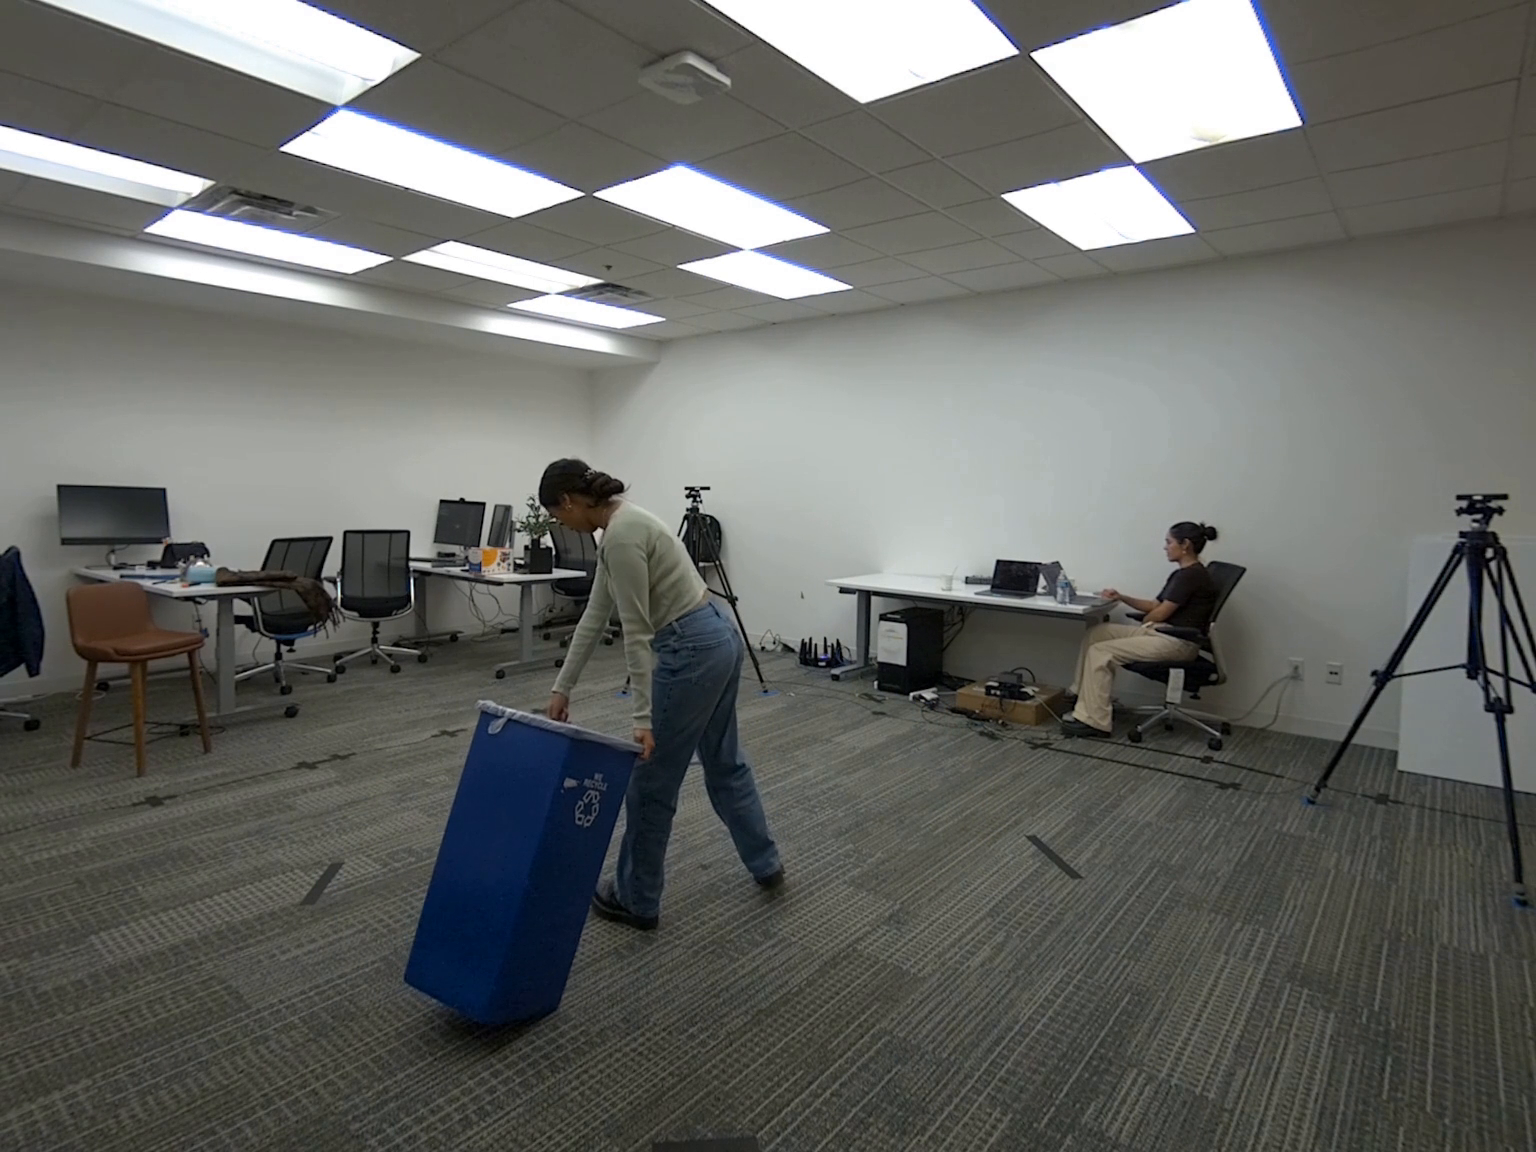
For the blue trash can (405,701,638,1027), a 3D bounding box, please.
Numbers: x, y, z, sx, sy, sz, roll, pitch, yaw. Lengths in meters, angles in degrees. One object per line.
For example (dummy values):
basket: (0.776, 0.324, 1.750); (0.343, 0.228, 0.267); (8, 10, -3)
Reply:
blue trash can: (-0.673, 0.753, 2.313); (0.389, 0.720, 0.360); (7, -15, 27)
